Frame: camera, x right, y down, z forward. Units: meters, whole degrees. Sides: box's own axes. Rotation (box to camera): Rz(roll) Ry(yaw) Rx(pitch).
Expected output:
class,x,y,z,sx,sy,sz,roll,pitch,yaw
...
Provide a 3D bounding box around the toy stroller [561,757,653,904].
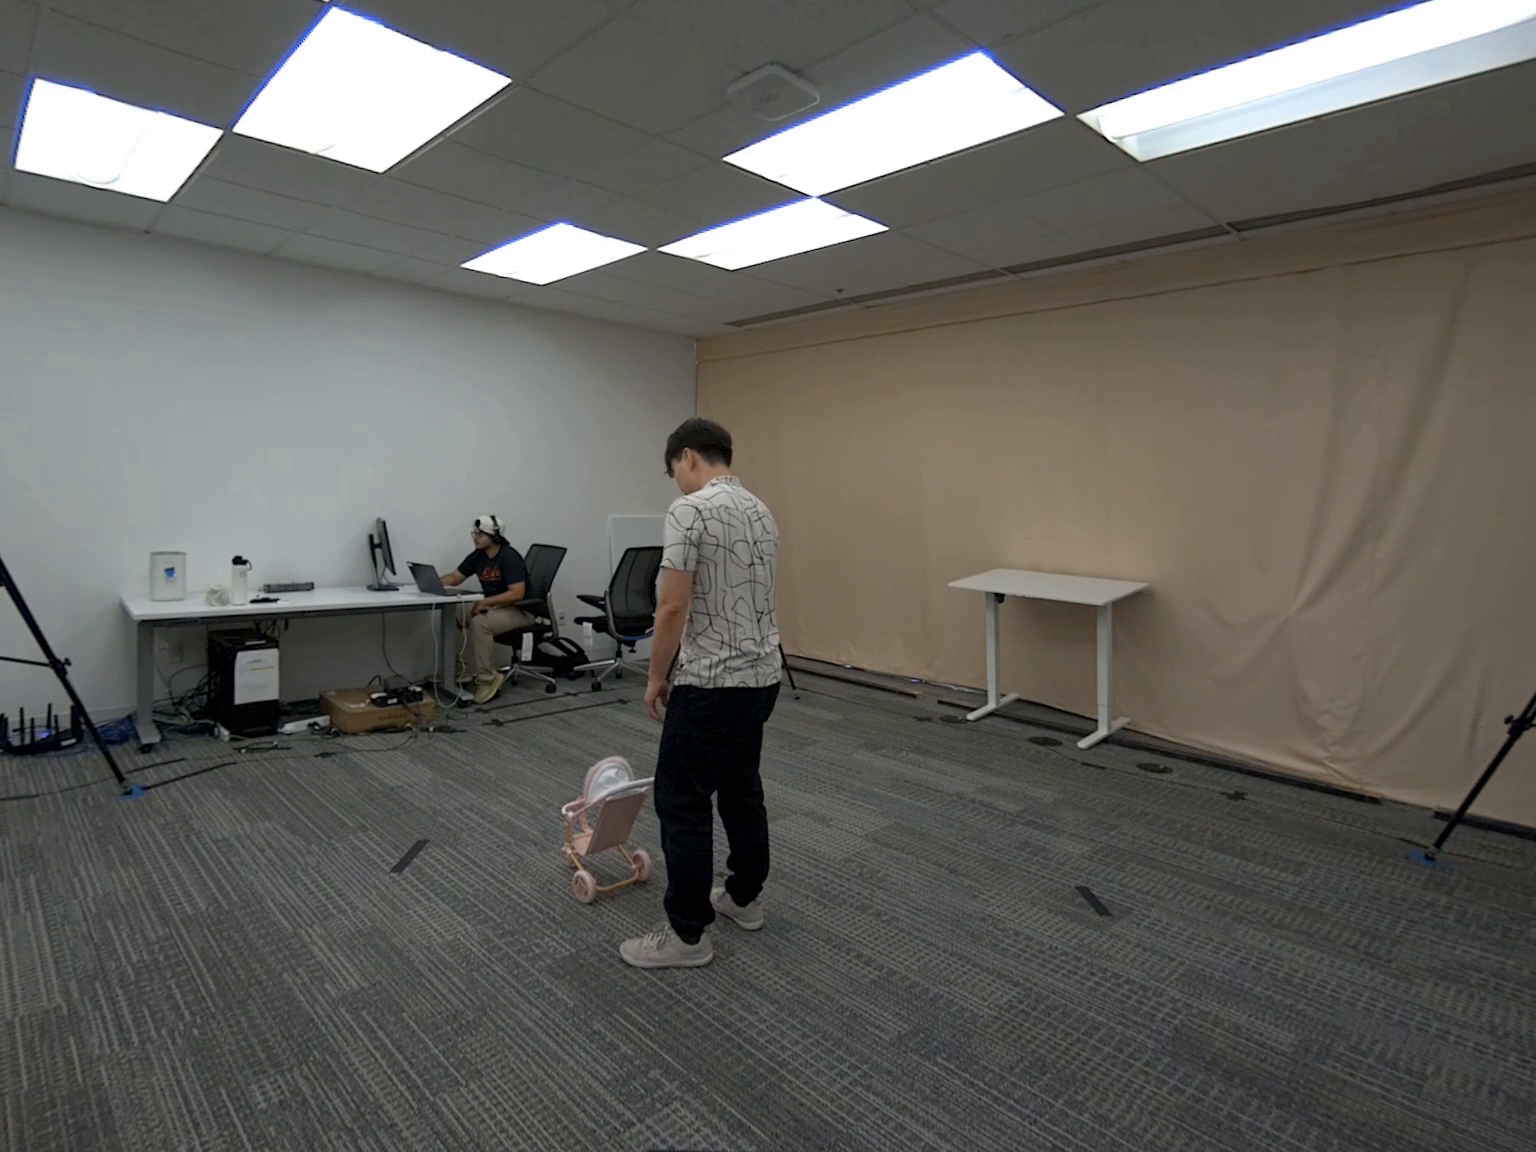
class,x,y,z,sx,sy,sz,roll,pitch,yaw
toy stroller,-0.586,0.878,2.993,0.275,0.530,0.352,-1,20,-41
